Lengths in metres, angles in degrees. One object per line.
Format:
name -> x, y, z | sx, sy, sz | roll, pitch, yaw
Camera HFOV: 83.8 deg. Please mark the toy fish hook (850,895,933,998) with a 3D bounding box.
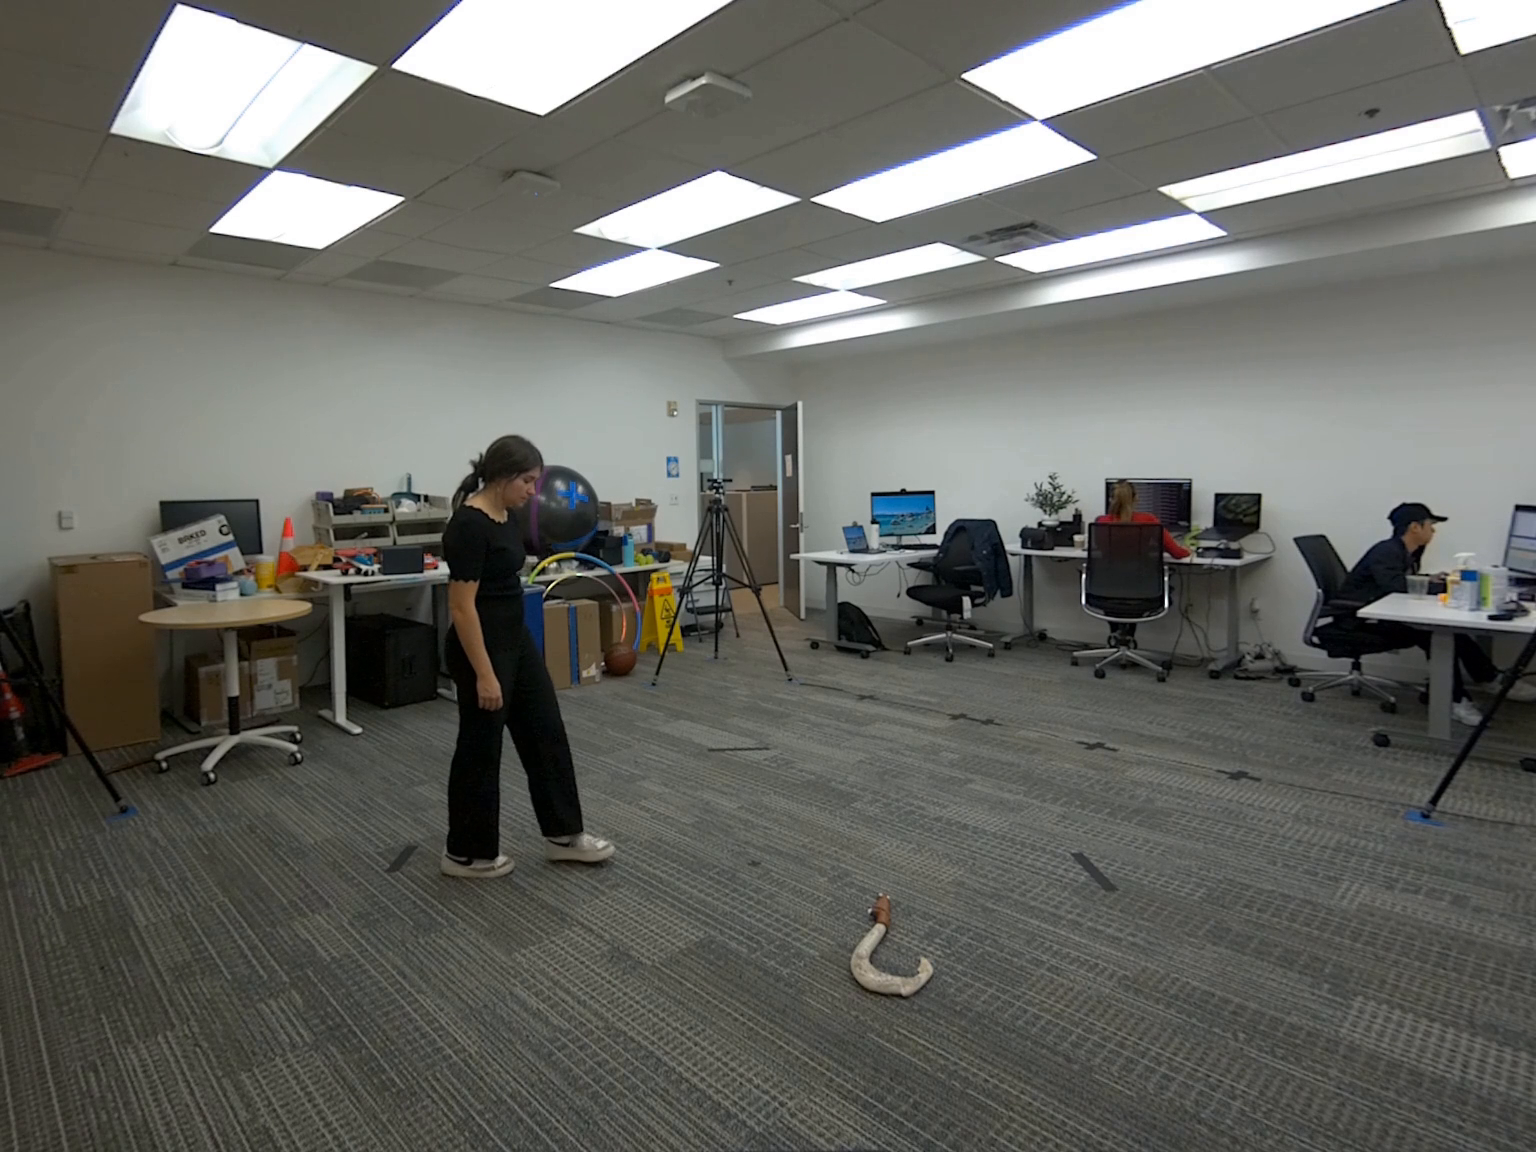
toy fish hook -> 0.379, 1.087, 2.538 | 0.228, 0.048, 0.502 | 8, 9, 12
